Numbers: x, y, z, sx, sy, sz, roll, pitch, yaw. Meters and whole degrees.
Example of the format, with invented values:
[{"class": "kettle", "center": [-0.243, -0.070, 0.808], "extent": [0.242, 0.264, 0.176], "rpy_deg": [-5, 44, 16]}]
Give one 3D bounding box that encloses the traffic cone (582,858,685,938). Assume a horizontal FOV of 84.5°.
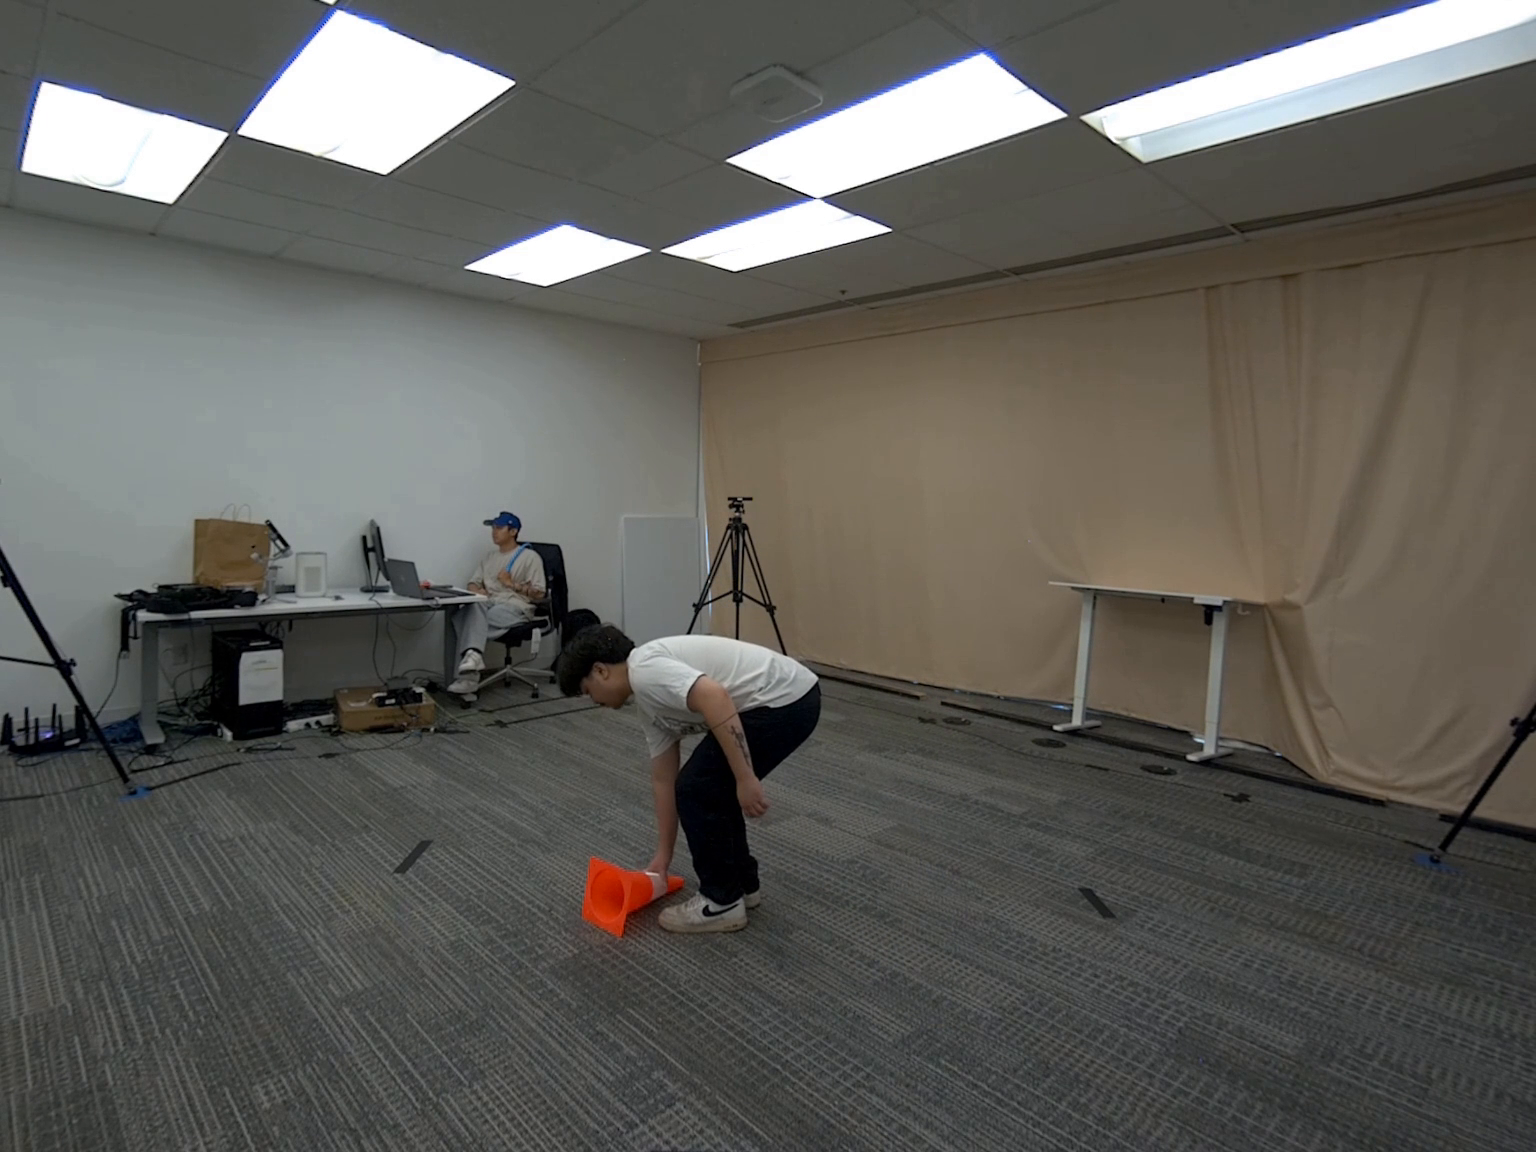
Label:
[{"class": "traffic cone", "center": [-0.427, 1.072, 2.871], "extent": [0.210, 0.204, 0.373], "rpy_deg": [7, -7, 36]}]
